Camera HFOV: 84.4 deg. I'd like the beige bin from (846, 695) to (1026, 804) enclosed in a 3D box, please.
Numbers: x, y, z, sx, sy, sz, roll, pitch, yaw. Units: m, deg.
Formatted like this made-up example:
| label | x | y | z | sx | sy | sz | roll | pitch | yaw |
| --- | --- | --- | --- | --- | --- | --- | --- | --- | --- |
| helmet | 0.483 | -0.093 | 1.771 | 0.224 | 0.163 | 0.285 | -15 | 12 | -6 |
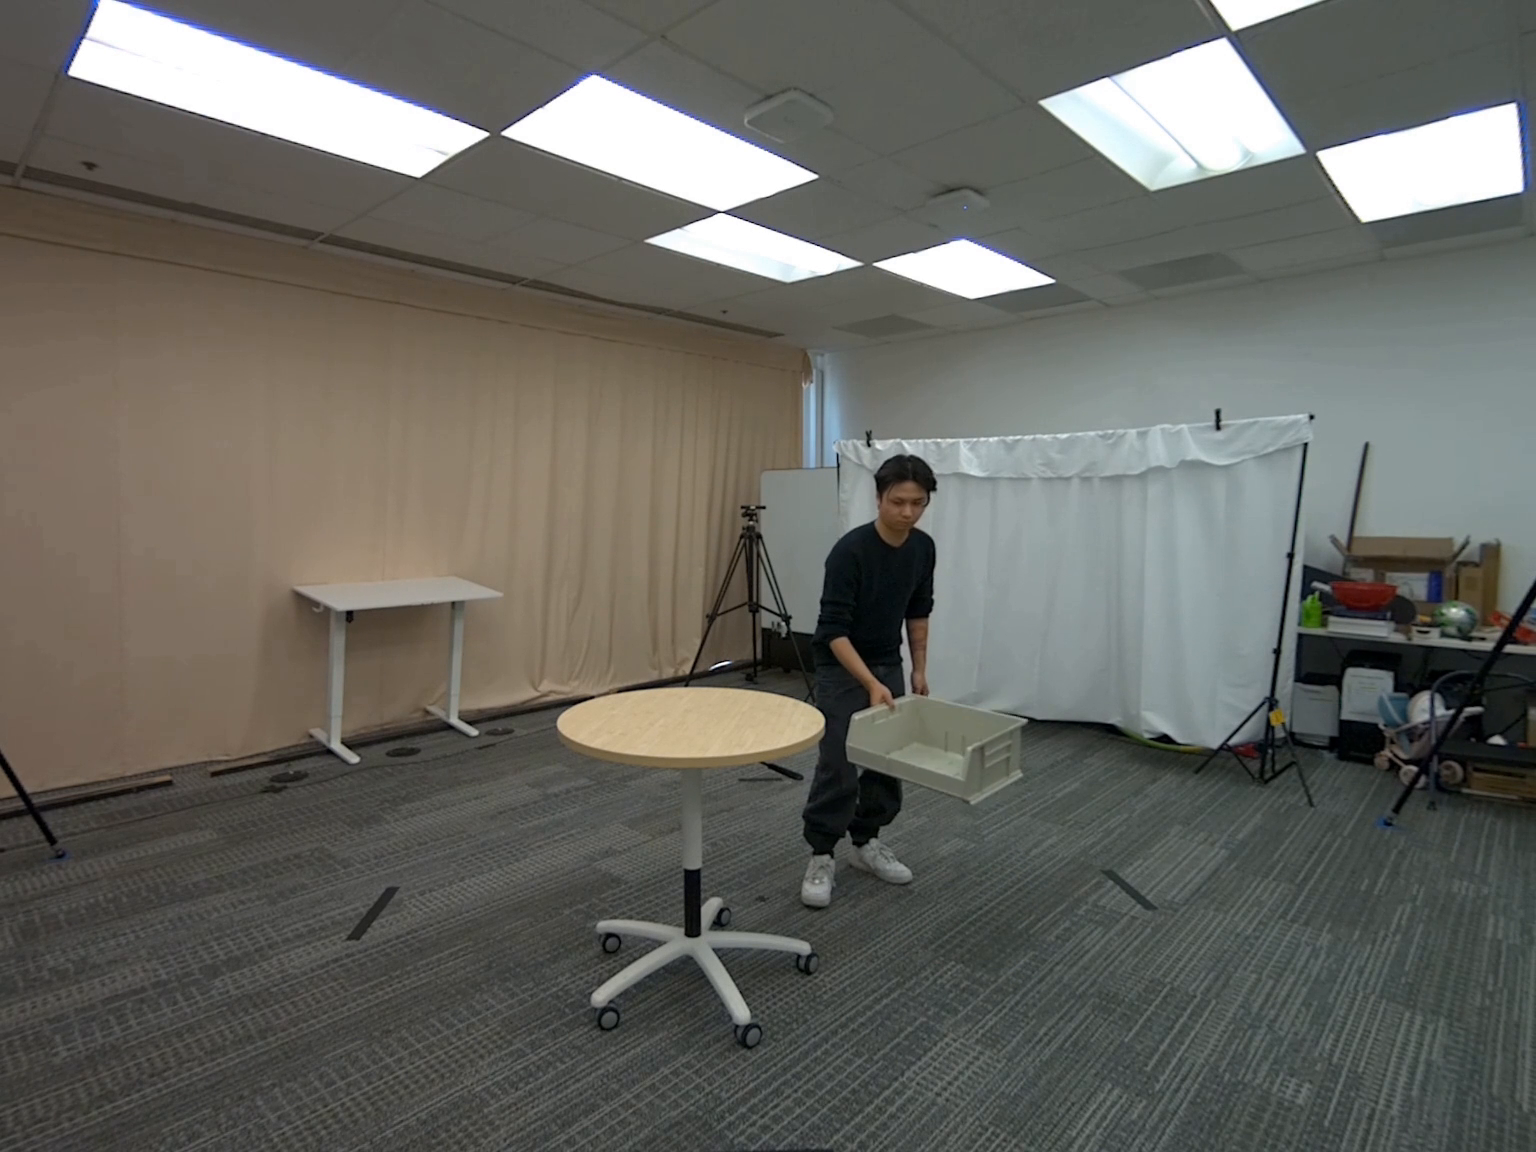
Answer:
| label | x | y | z | sx | sy | sz | roll | pitch | yaw |
| --- | --- | --- | --- | --- | --- | --- | --- | --- | --- |
| beige bin | 0.531 | 0.535 | 2.648 | 0.366 | 0.188 | 0.437 | -7 | 10 | -44 |
